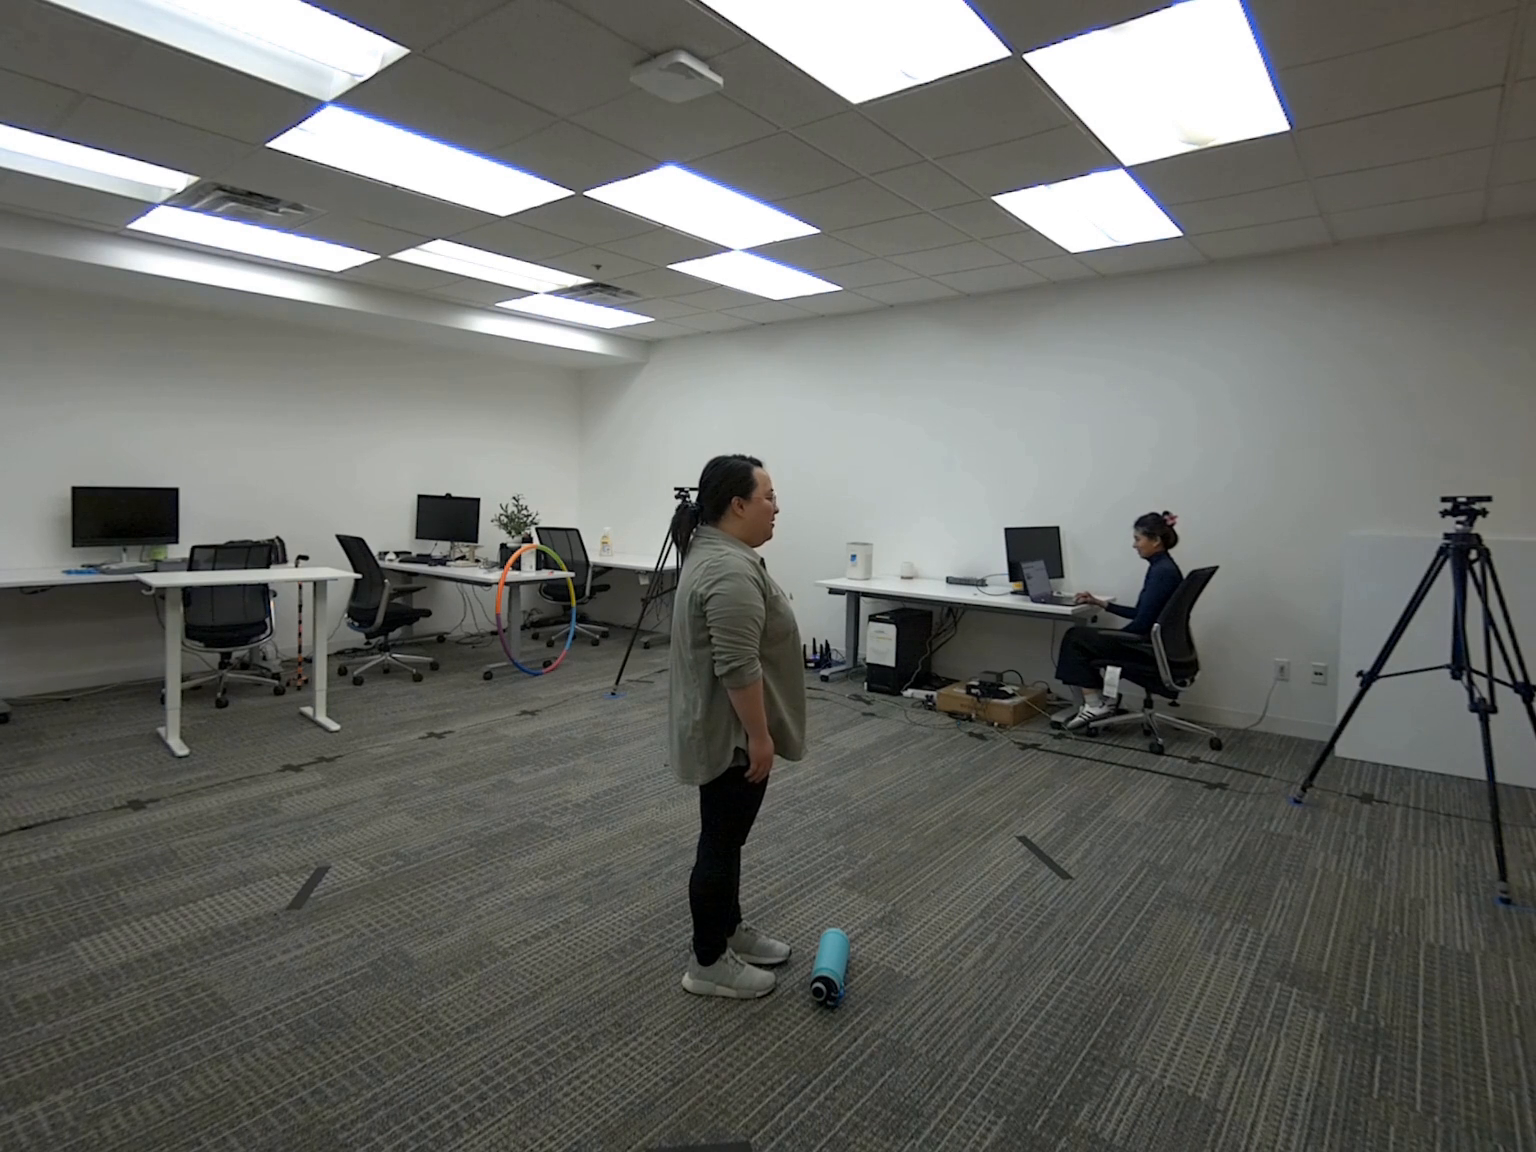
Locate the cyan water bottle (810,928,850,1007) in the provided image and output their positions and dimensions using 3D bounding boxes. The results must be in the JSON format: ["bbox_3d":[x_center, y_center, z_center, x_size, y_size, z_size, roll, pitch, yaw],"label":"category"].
[{"bbox_3d":[0.169,1.103,2.389,0.093,0.092,0.281,2,6,10],"label":"cyan water bottle"}]
